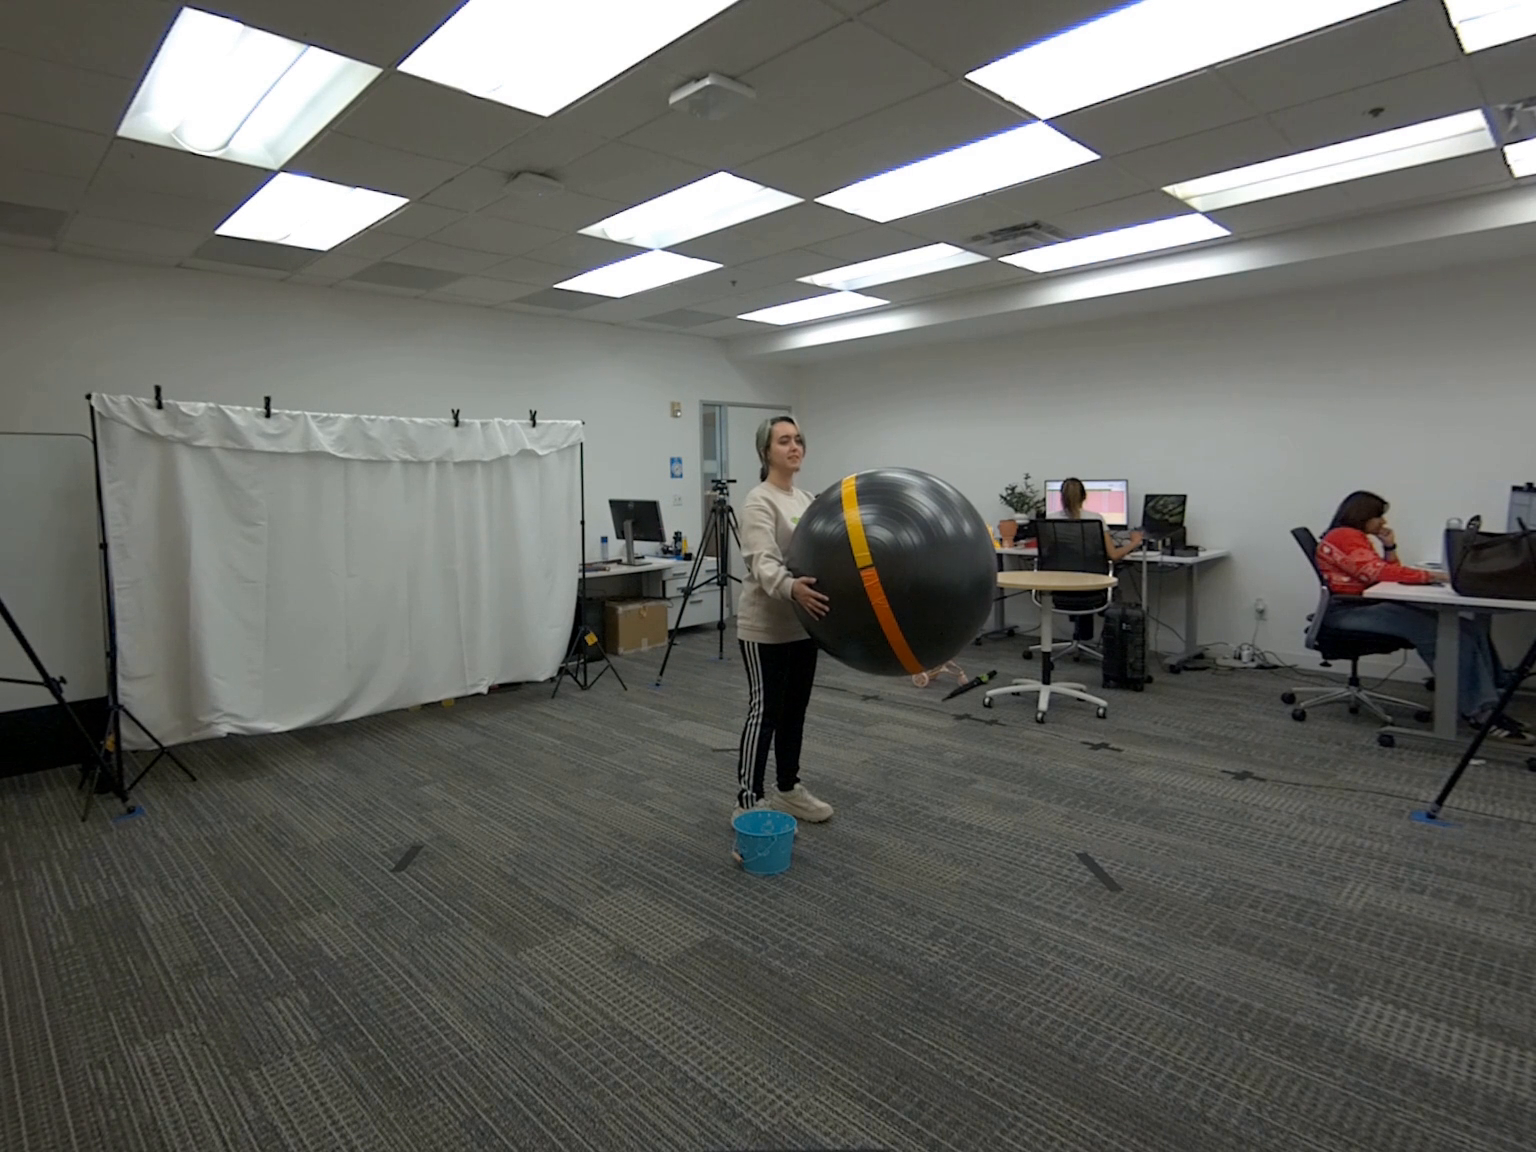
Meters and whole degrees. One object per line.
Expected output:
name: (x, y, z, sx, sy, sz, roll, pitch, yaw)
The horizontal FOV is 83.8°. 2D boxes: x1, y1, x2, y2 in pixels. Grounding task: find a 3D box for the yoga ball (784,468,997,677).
yoga ball: (0.453, -0.012, 3.119, 0.757, 0.755, 0.762, -1, 5, -2)
